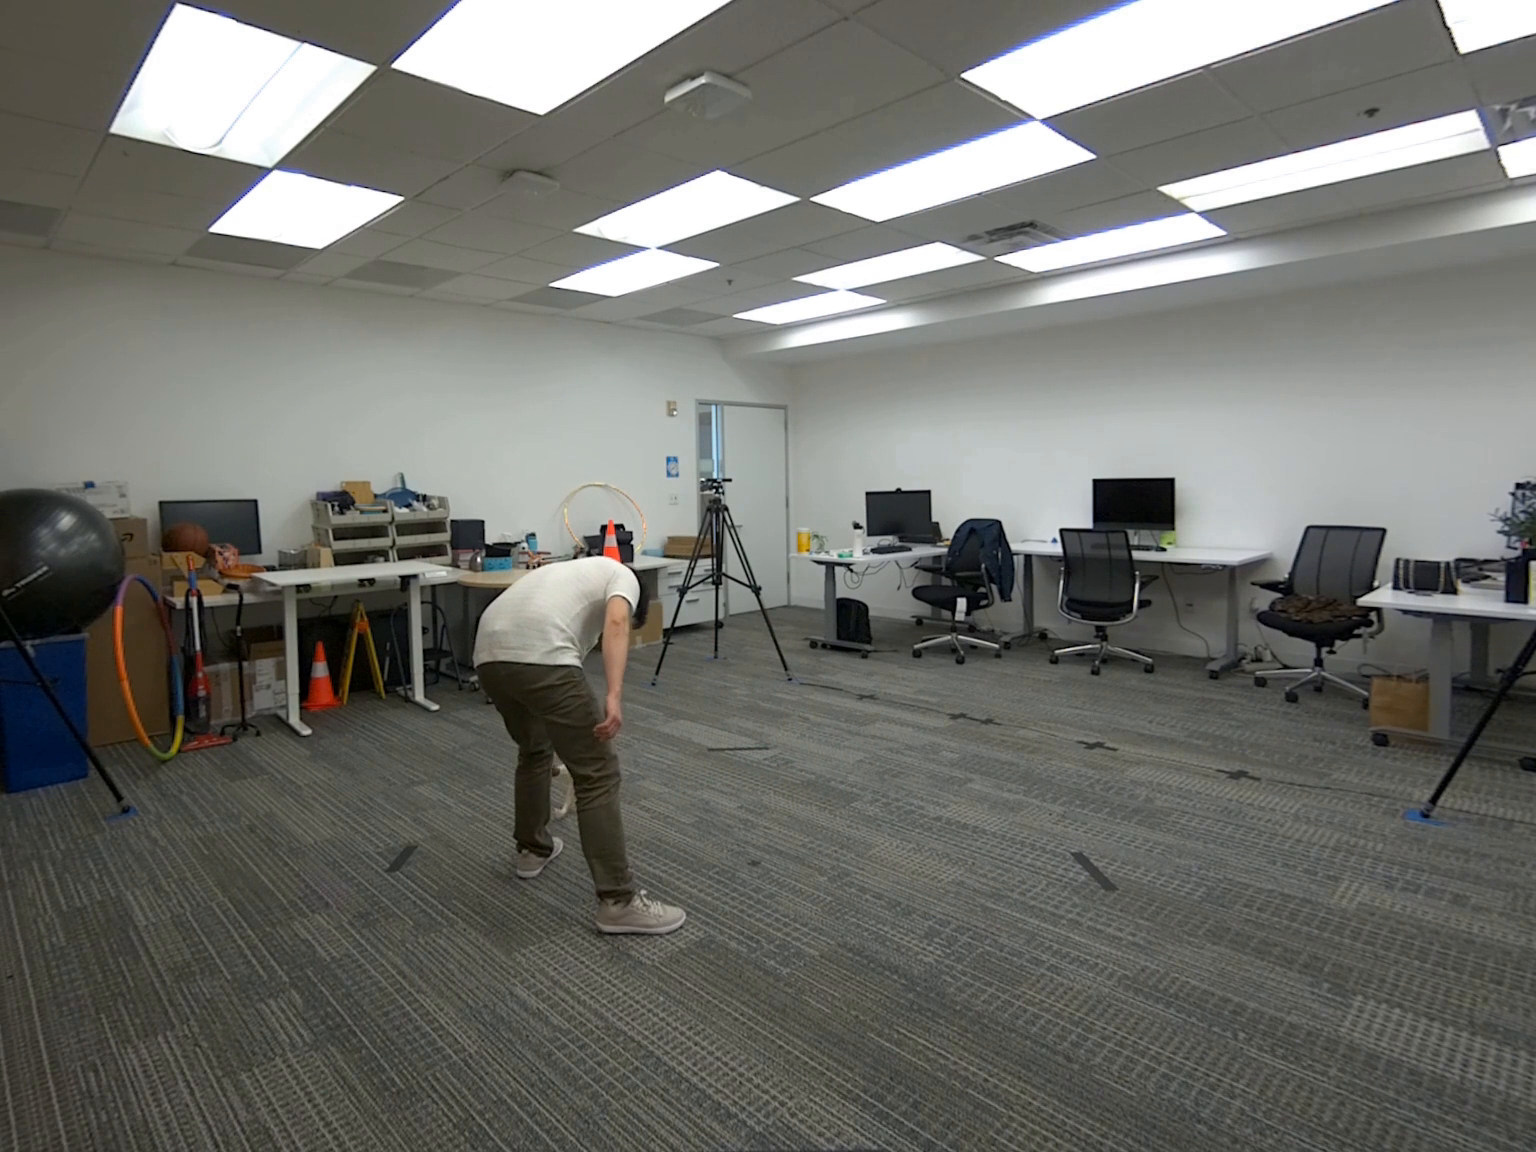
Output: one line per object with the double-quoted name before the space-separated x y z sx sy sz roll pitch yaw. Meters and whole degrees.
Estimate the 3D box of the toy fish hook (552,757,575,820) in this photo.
"toy fish hook" -0.850 0.852 3.462 0.048 0.230 0.493 -4 -27 2
